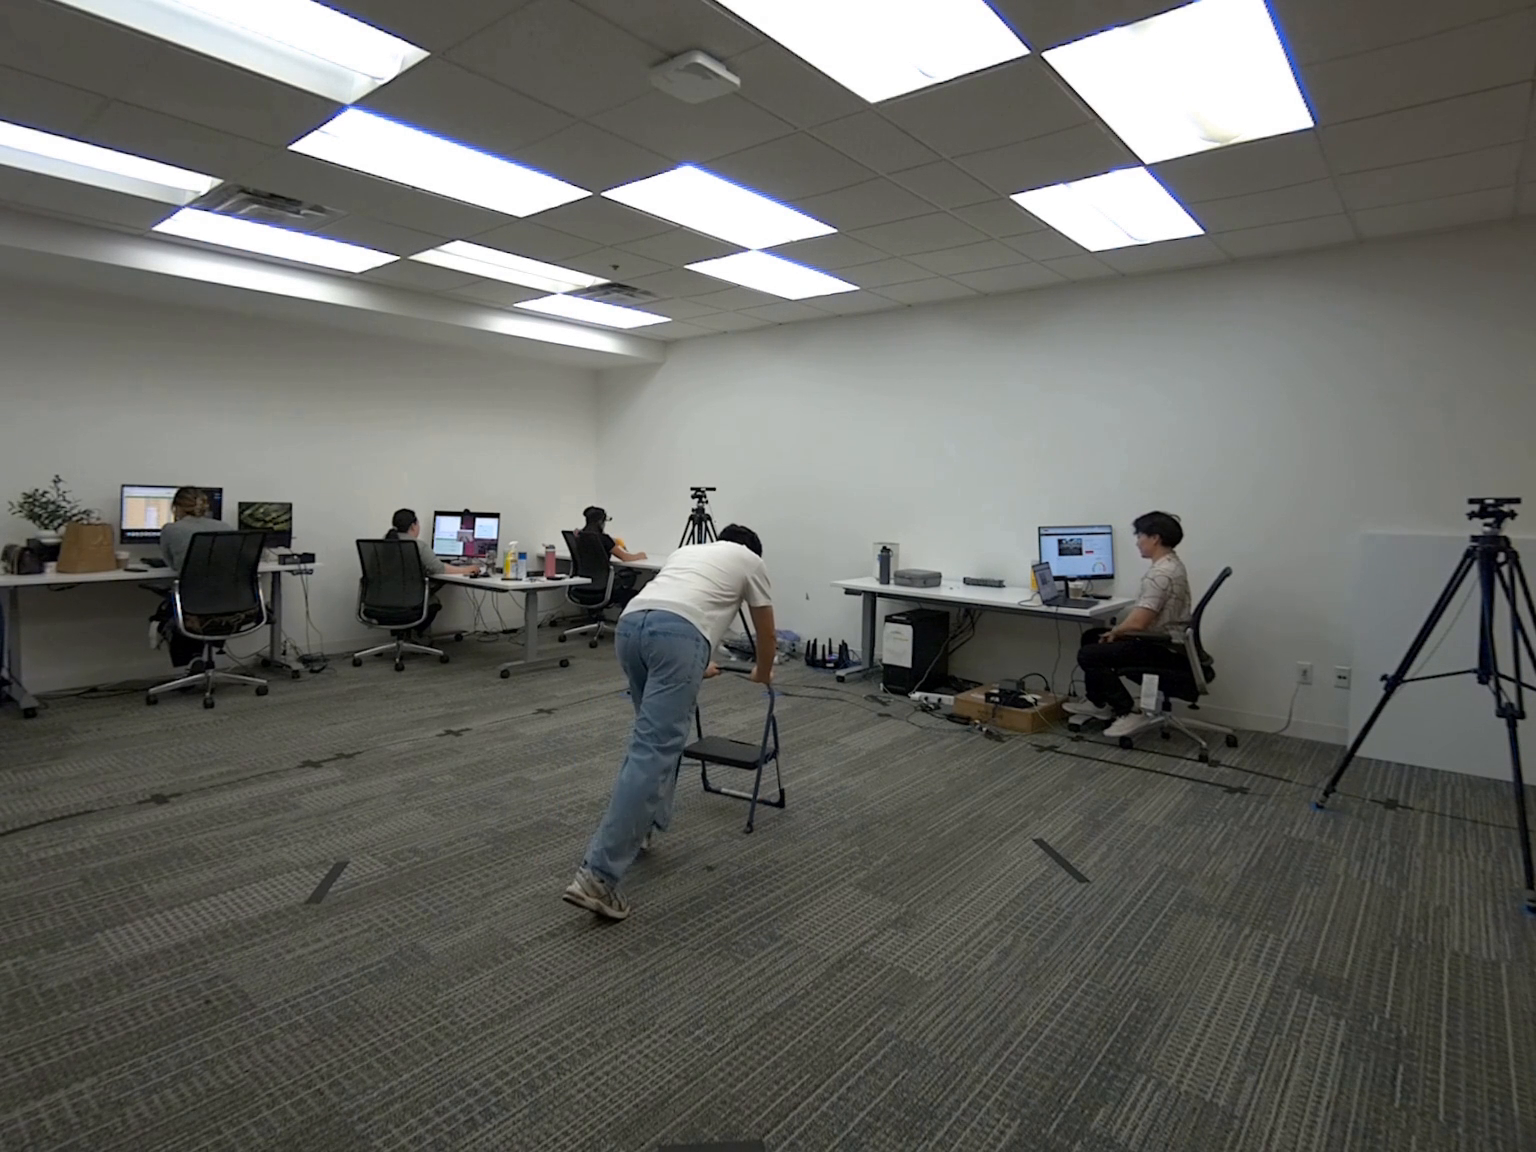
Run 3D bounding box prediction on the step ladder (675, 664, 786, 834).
[{"bbox_3d":[-0.180,0.705,3.682,0.443,0.605,0.340,3,2,28],"label":"step ladder"}]
